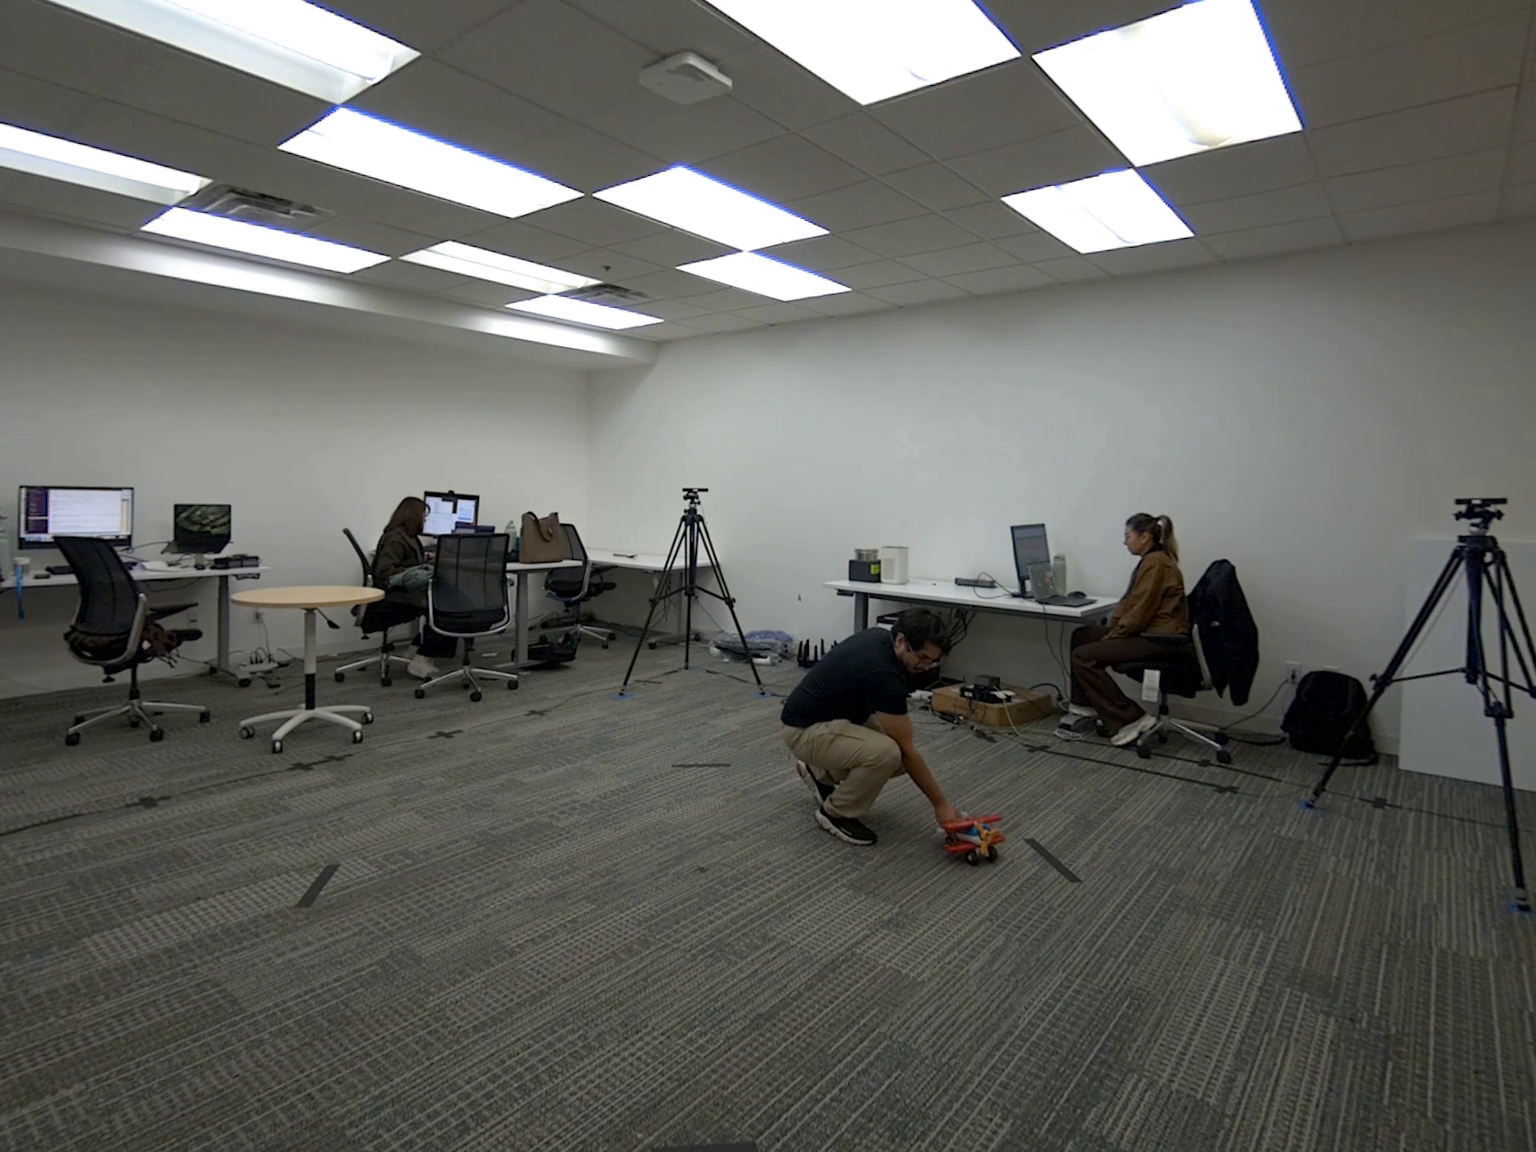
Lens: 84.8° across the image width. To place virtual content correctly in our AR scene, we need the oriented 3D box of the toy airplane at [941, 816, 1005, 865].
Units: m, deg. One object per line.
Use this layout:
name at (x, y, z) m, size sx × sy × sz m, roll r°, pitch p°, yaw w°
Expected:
toy airplane at (0.754, 0.998, 3.294) m, size 0.268 × 0.156 × 0.244 m, roll 4°, pitch 8°, yaw 41°
